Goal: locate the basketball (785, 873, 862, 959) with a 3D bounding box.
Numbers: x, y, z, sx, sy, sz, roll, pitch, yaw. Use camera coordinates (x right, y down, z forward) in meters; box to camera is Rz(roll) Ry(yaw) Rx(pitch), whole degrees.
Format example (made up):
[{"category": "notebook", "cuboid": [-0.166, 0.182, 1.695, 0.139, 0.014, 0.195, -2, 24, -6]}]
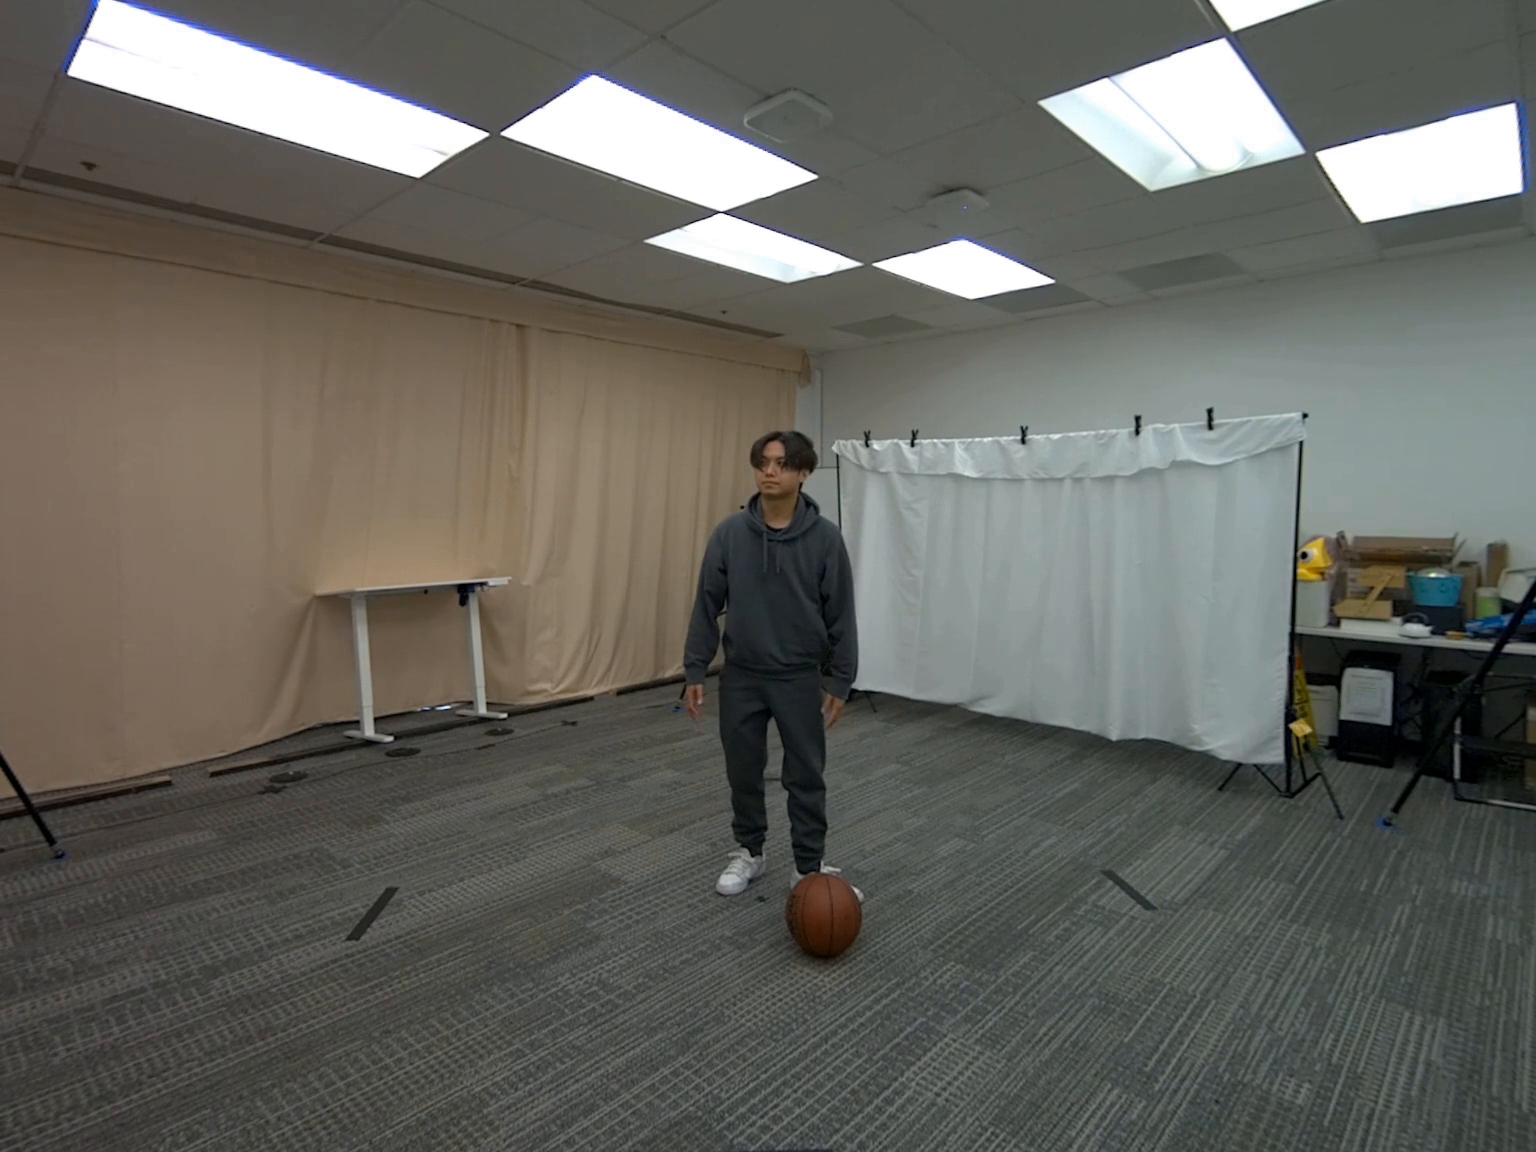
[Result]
[{"category": "basketball", "cuboid": [0.179, 1.052, 2.625, 0.236, 0.235, 0.237, 0, 4, -2]}]
